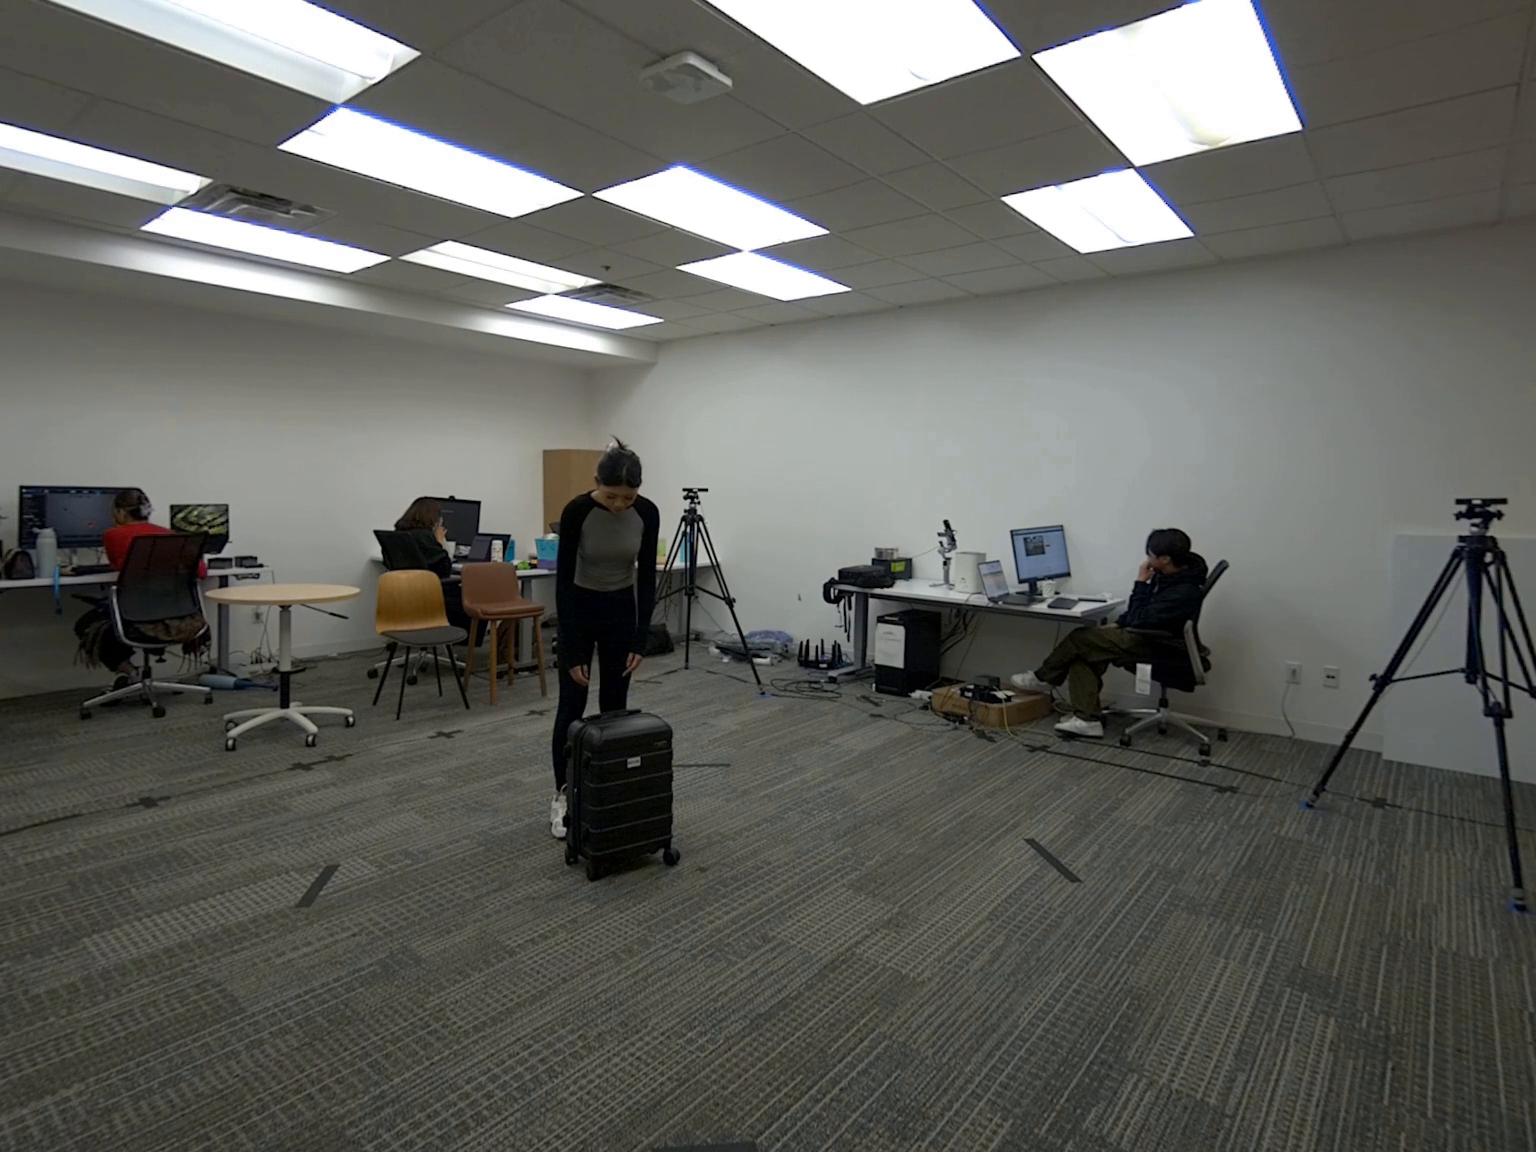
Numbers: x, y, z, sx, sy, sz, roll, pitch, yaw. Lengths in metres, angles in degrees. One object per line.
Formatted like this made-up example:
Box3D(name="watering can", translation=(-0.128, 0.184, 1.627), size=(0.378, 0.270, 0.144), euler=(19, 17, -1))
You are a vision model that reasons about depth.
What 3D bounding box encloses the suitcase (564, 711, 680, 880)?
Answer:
Box3D(name="suitcase", translation=(-0.555, 0.779, 3.154), size=(0.364, 0.548, 0.256), euler=(0, 3, -35))
